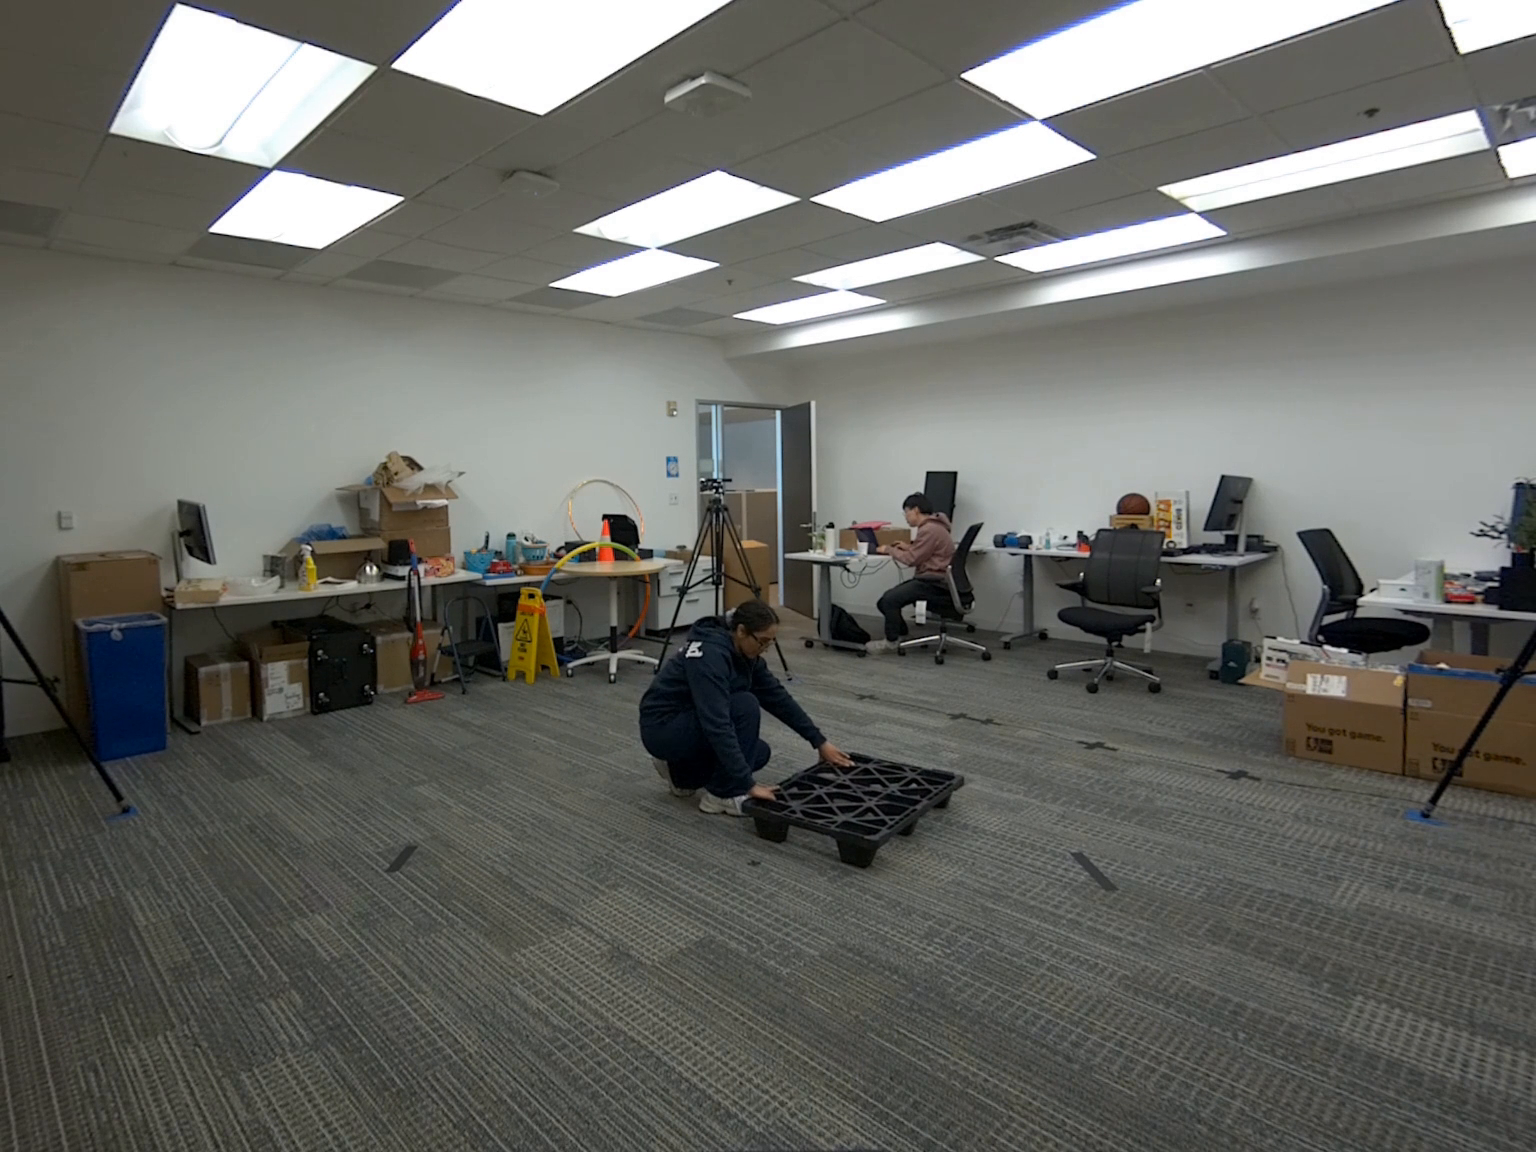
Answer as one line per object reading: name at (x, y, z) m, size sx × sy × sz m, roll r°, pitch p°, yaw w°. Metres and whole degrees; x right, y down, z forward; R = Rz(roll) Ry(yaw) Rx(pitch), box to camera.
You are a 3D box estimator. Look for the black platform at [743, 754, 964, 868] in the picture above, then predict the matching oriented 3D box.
black platform at (0.357, 0.927, 3.464) m, size 0.623 × 0.143 × 0.786 m, roll 3°, pitch 7°, yaw 36°
